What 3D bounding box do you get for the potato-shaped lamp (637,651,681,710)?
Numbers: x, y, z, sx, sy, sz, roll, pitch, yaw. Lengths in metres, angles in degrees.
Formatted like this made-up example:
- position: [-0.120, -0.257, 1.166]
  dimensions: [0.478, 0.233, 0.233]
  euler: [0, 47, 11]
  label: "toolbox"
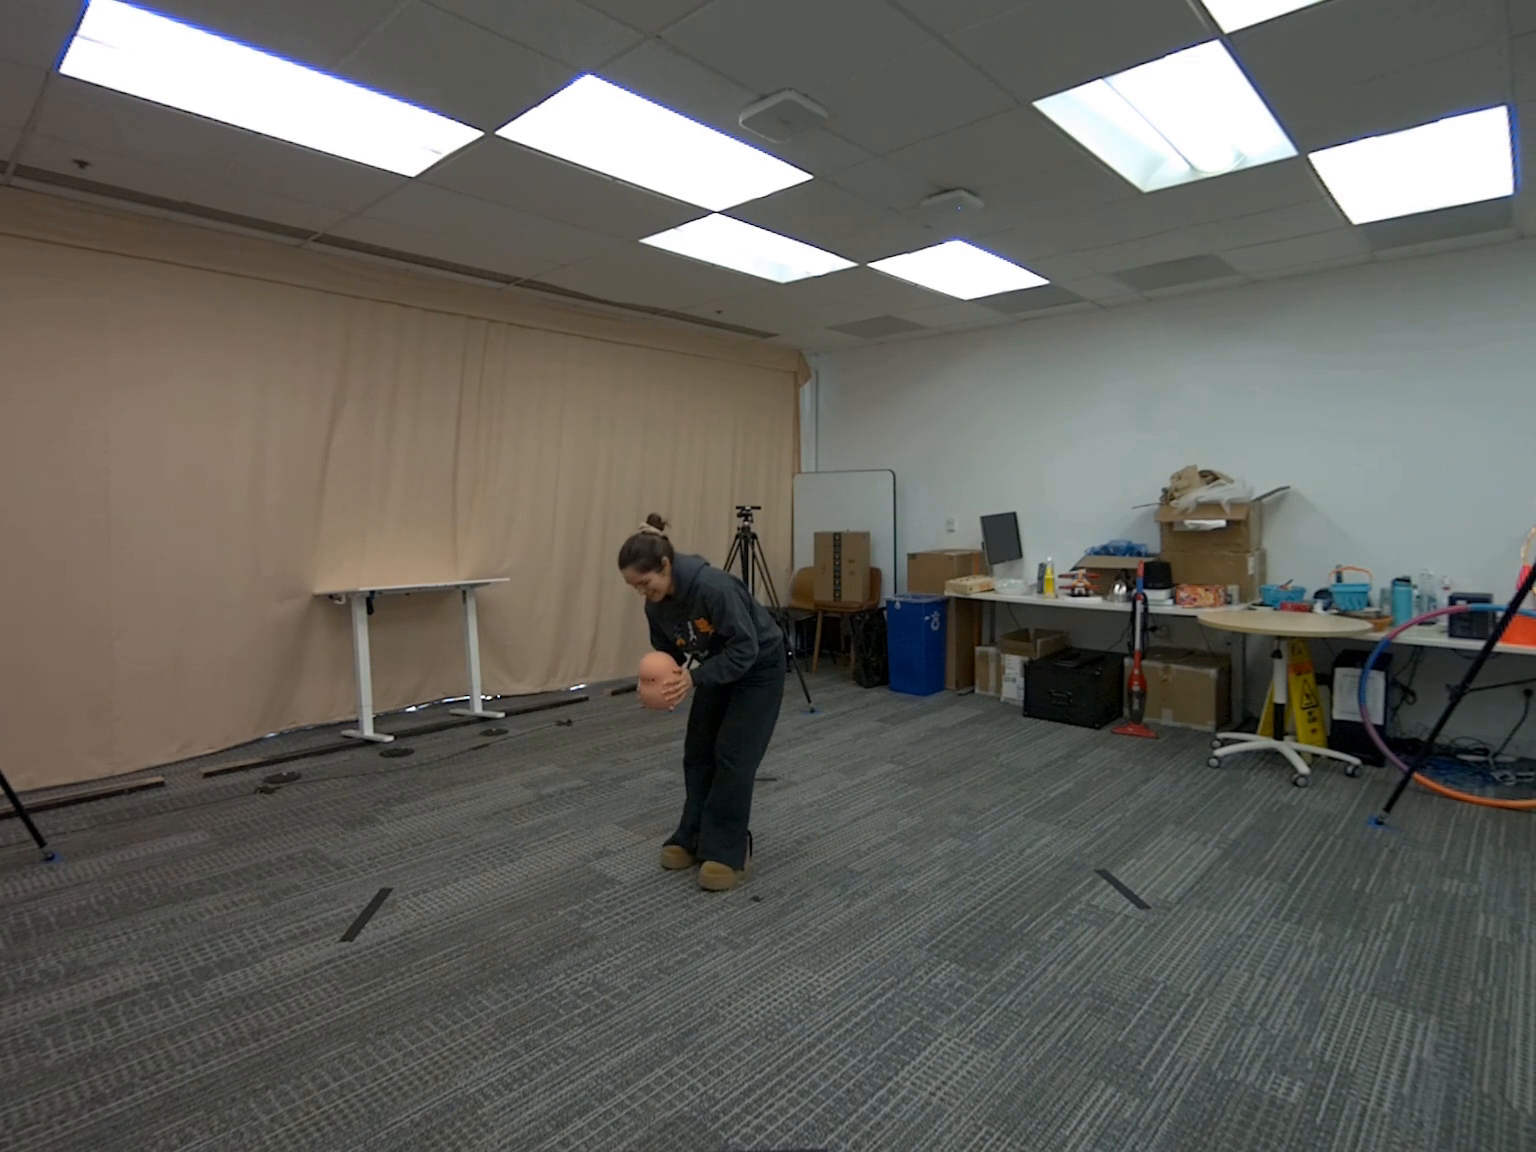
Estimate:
- position: [-0.381, 0.368, 3.047]
  dimensions: [0.169, 0.193, 0.171]
  euler: [-1, 32, 27]
  label: "potato-shaped lamp"
